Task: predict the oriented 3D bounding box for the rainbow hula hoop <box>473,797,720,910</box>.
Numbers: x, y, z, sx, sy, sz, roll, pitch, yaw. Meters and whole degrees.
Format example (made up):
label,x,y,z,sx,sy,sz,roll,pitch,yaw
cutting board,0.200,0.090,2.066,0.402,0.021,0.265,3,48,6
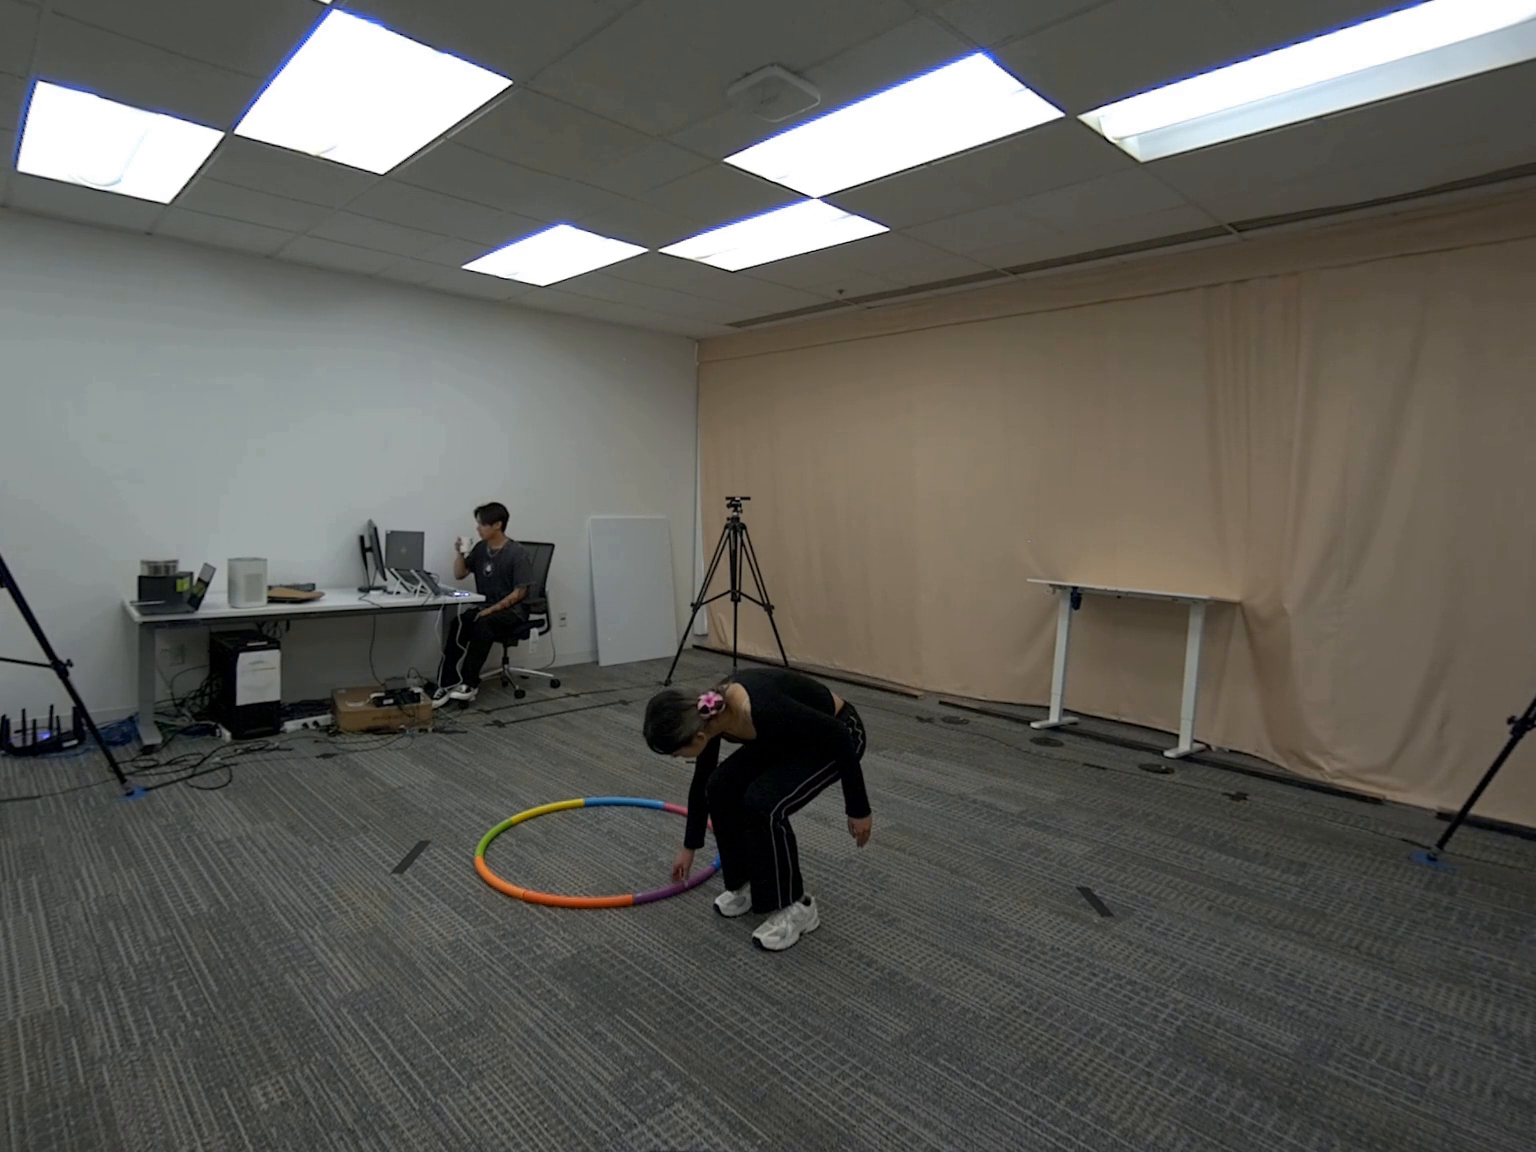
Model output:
label,x,y,z,sx,sy,sz,roll,pitch,yaw
rainbow hula hoop,-0.647,1.047,3.316,0.978,0.035,0.982,2,5,-1
